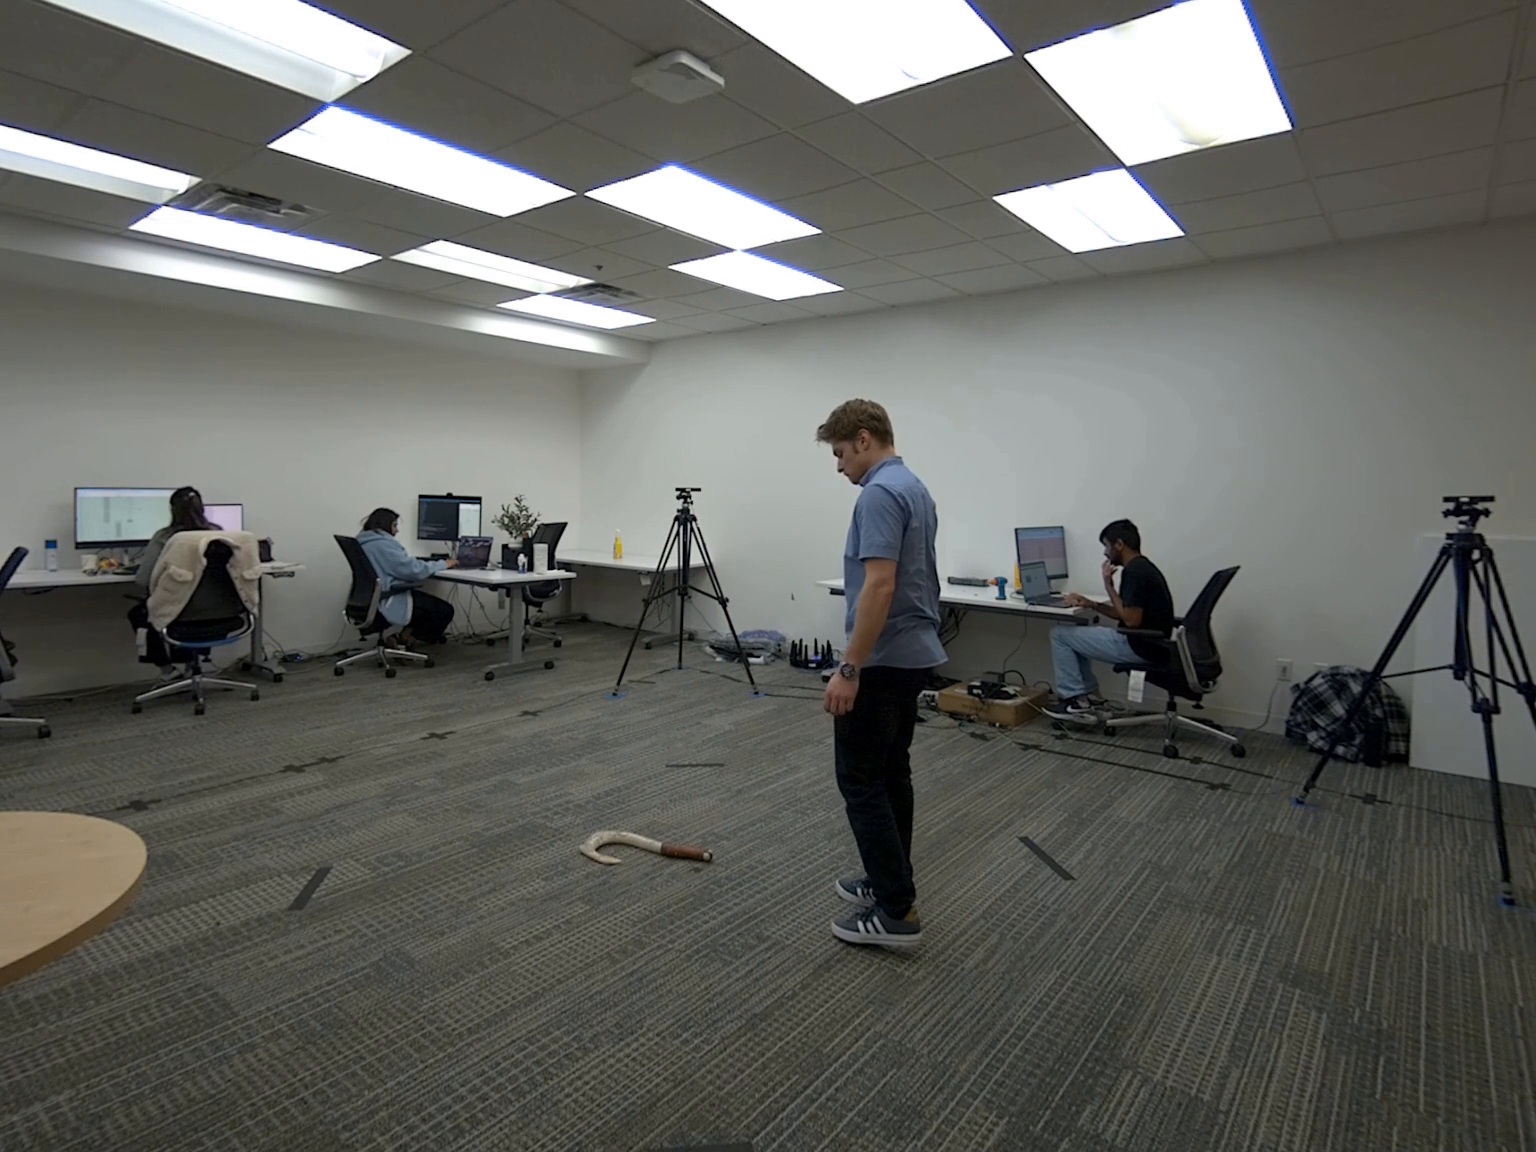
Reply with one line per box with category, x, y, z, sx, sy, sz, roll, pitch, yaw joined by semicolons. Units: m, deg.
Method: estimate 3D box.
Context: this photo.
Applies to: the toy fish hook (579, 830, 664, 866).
toy fish hook;-0.472;1.041;3.200;0.517;0.048;0.223;2;14;18
